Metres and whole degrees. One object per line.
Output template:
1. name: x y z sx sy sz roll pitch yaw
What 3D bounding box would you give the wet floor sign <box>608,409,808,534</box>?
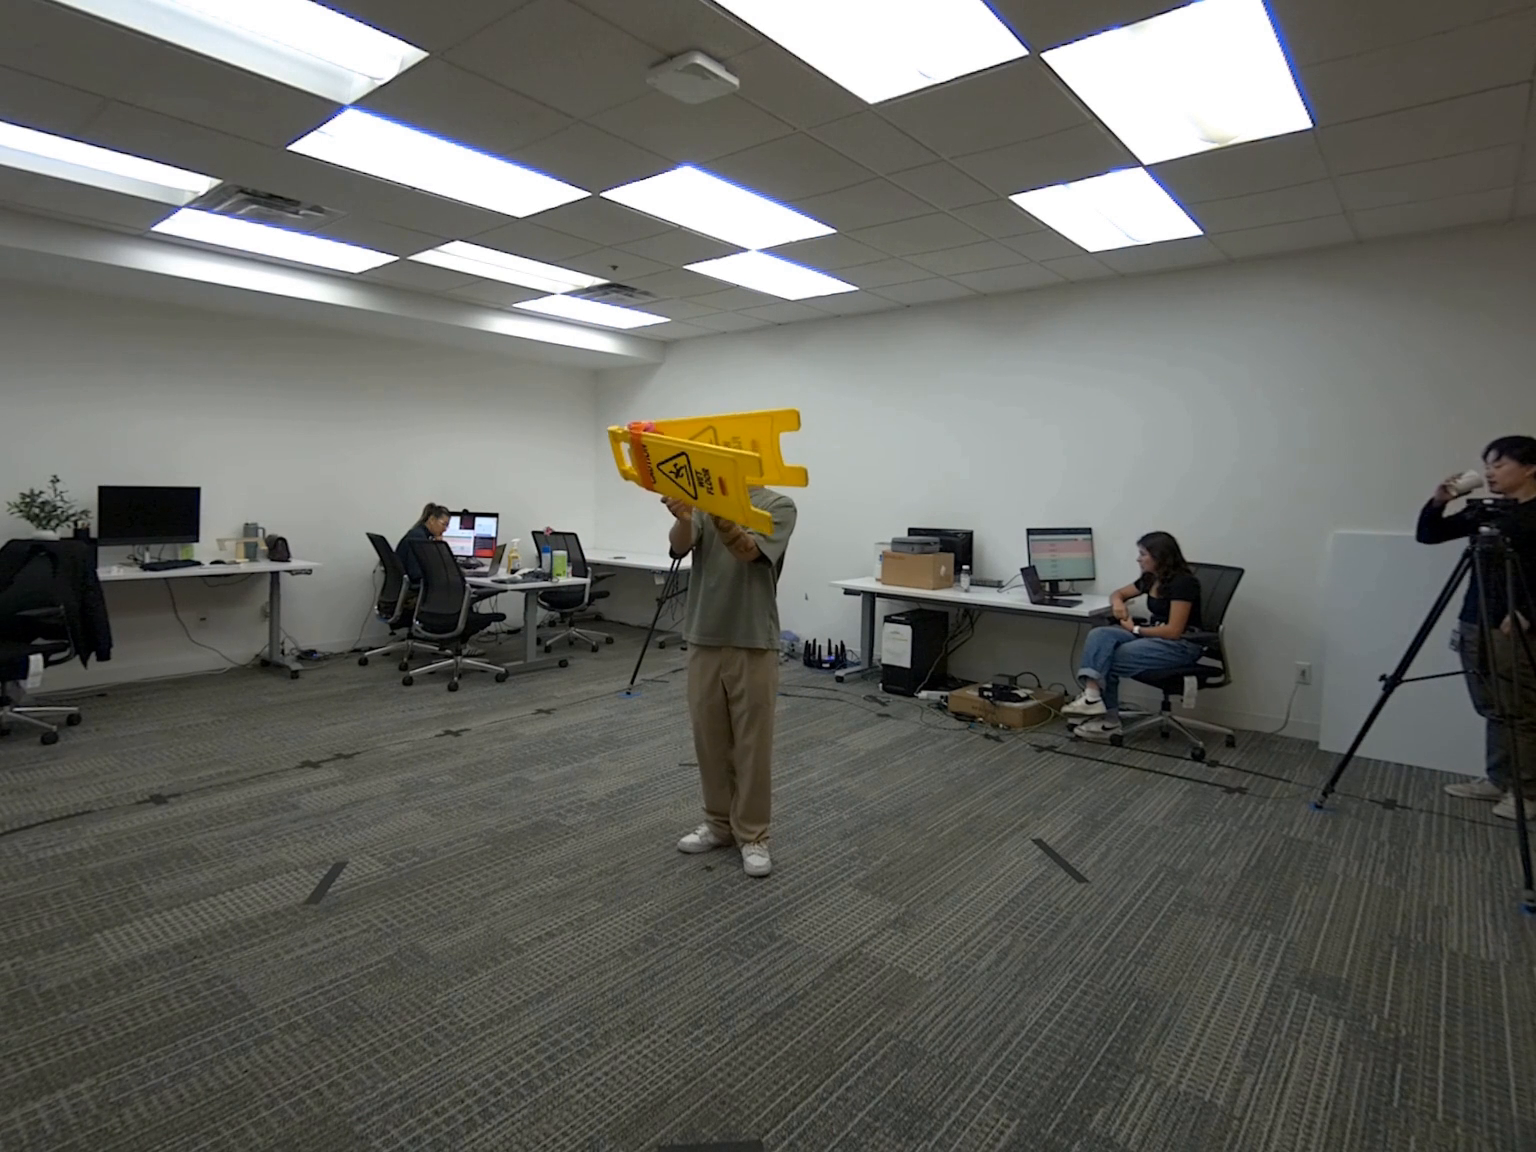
1. wet floor sign: -0.244 -0.365 2.737 0.666 0.273 0.290 10 41 28
